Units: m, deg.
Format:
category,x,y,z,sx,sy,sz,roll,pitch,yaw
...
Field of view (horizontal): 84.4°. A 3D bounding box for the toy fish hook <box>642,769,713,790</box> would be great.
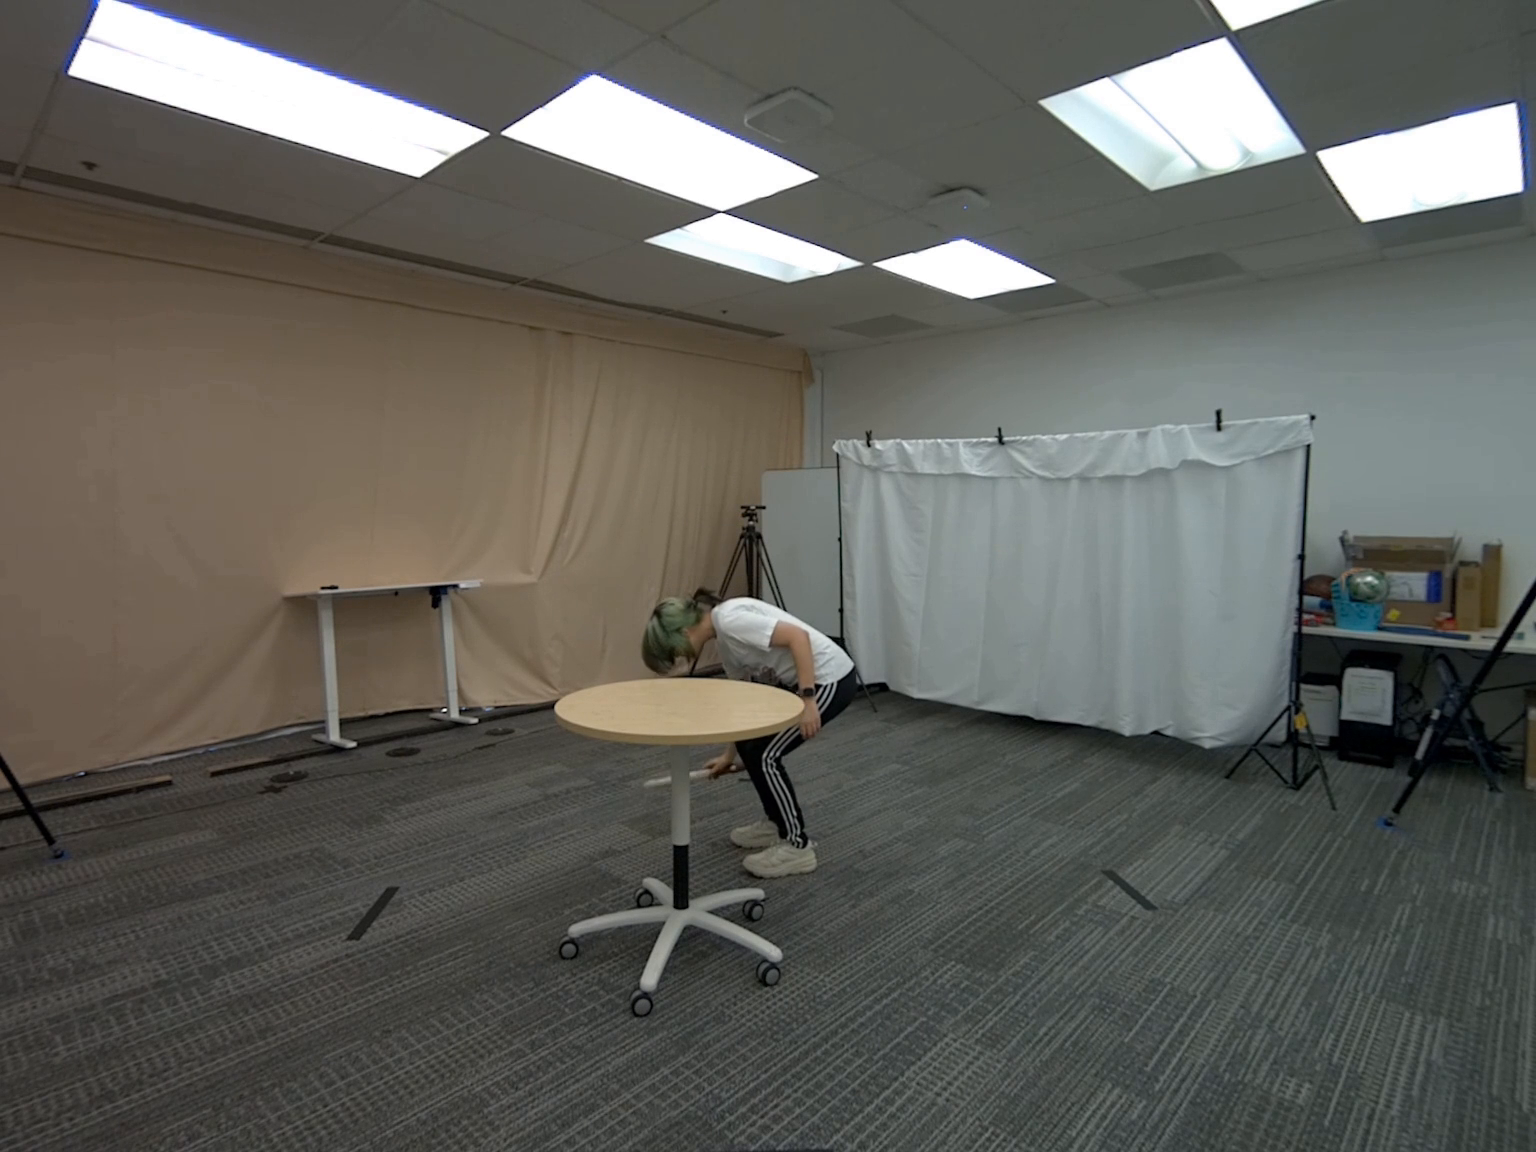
category,x,y,z,sx,sy,sz,roll,pitch,yaw
toy fish hook,-0.296,0.860,3.641,0.505,0.049,0.223,-10,-9,-3
